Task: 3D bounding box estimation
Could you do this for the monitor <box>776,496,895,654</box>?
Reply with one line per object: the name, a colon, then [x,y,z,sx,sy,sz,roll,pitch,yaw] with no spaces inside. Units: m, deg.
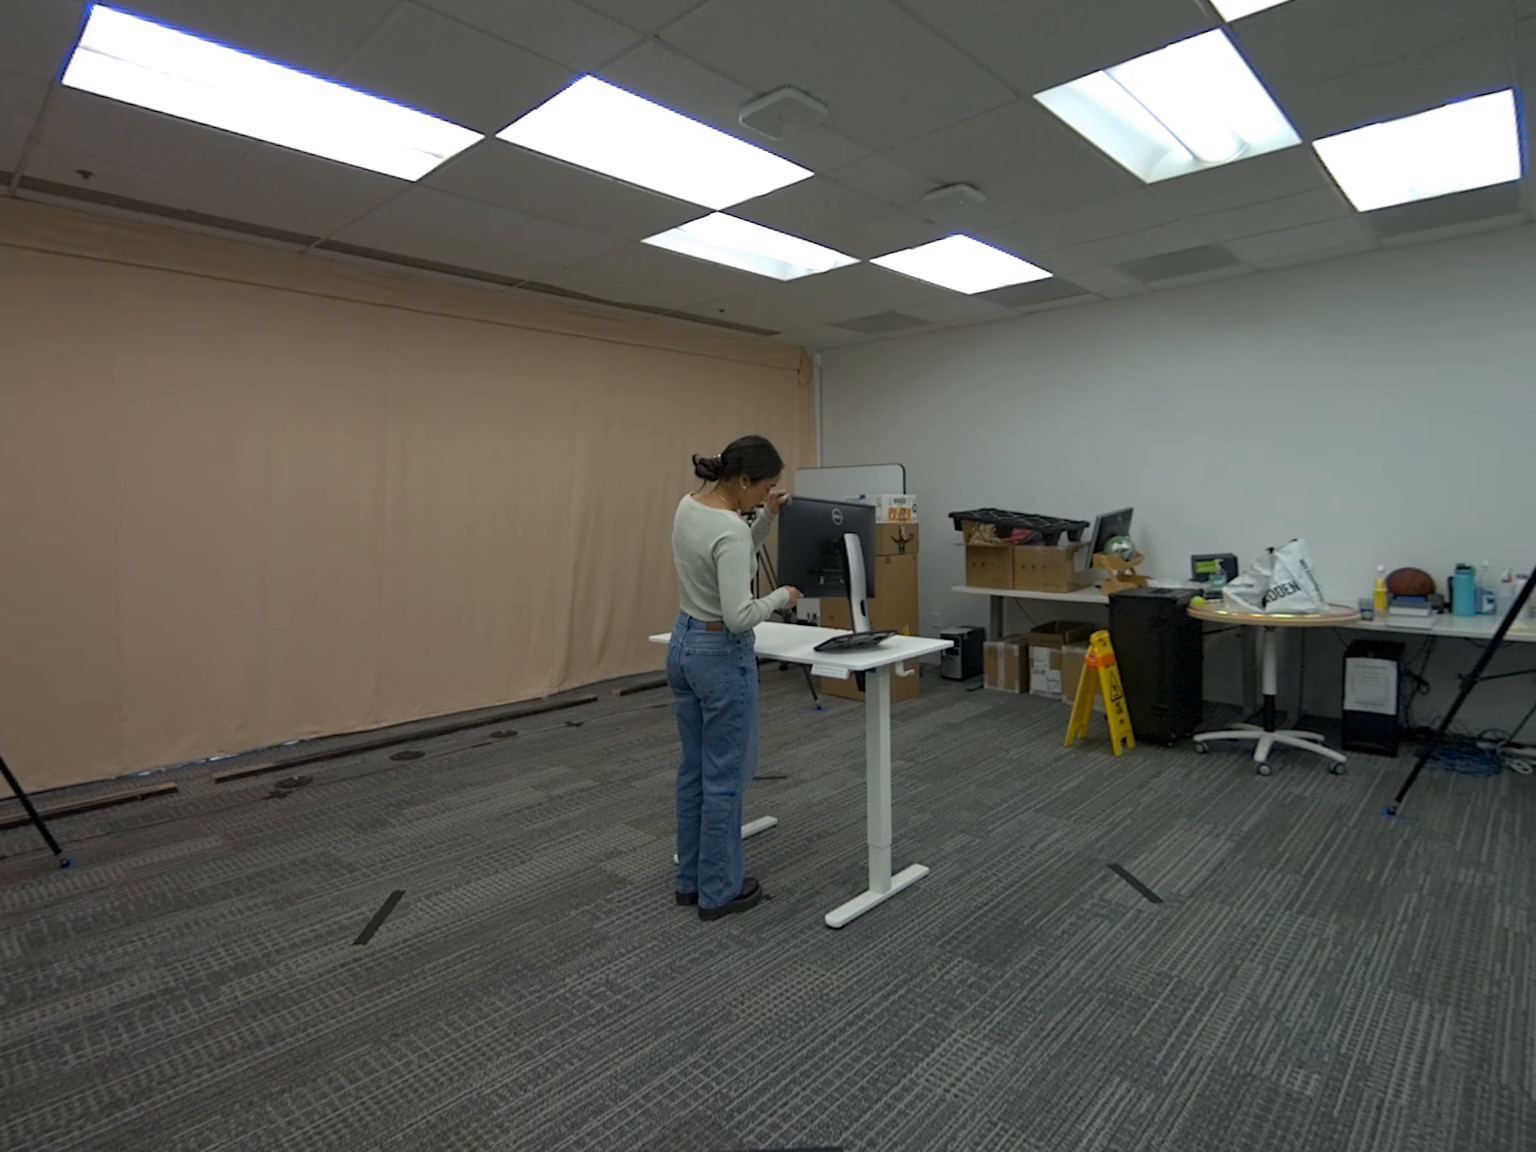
monitor: [0.264,-0.015,2.956,0.521,0.527,0.191,2,-16,-45]
